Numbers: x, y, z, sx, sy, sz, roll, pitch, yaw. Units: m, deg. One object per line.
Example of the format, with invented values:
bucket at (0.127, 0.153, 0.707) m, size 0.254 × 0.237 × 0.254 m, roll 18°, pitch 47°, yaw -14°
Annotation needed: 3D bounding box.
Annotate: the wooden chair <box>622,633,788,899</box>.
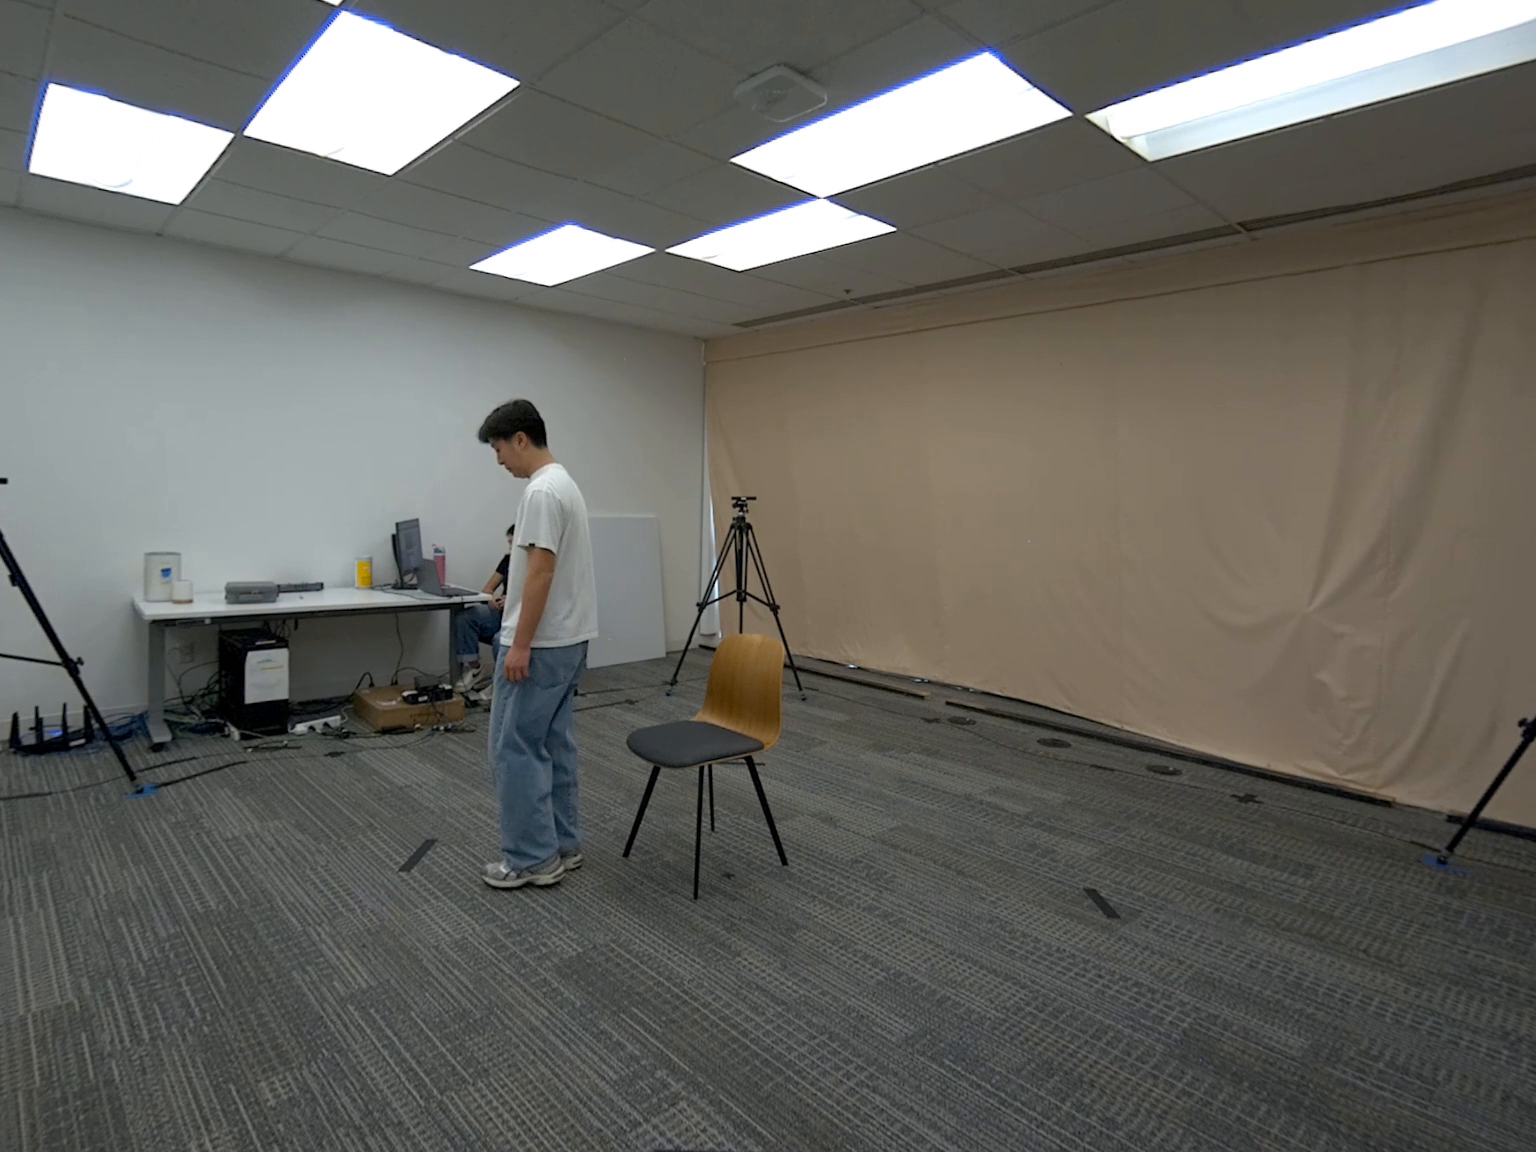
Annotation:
wooden chair at (-0.244, 0.669, 3.191) m, size 0.510 × 0.877 × 0.490 m, roll 4°, pitch 0°, yaw -43°
